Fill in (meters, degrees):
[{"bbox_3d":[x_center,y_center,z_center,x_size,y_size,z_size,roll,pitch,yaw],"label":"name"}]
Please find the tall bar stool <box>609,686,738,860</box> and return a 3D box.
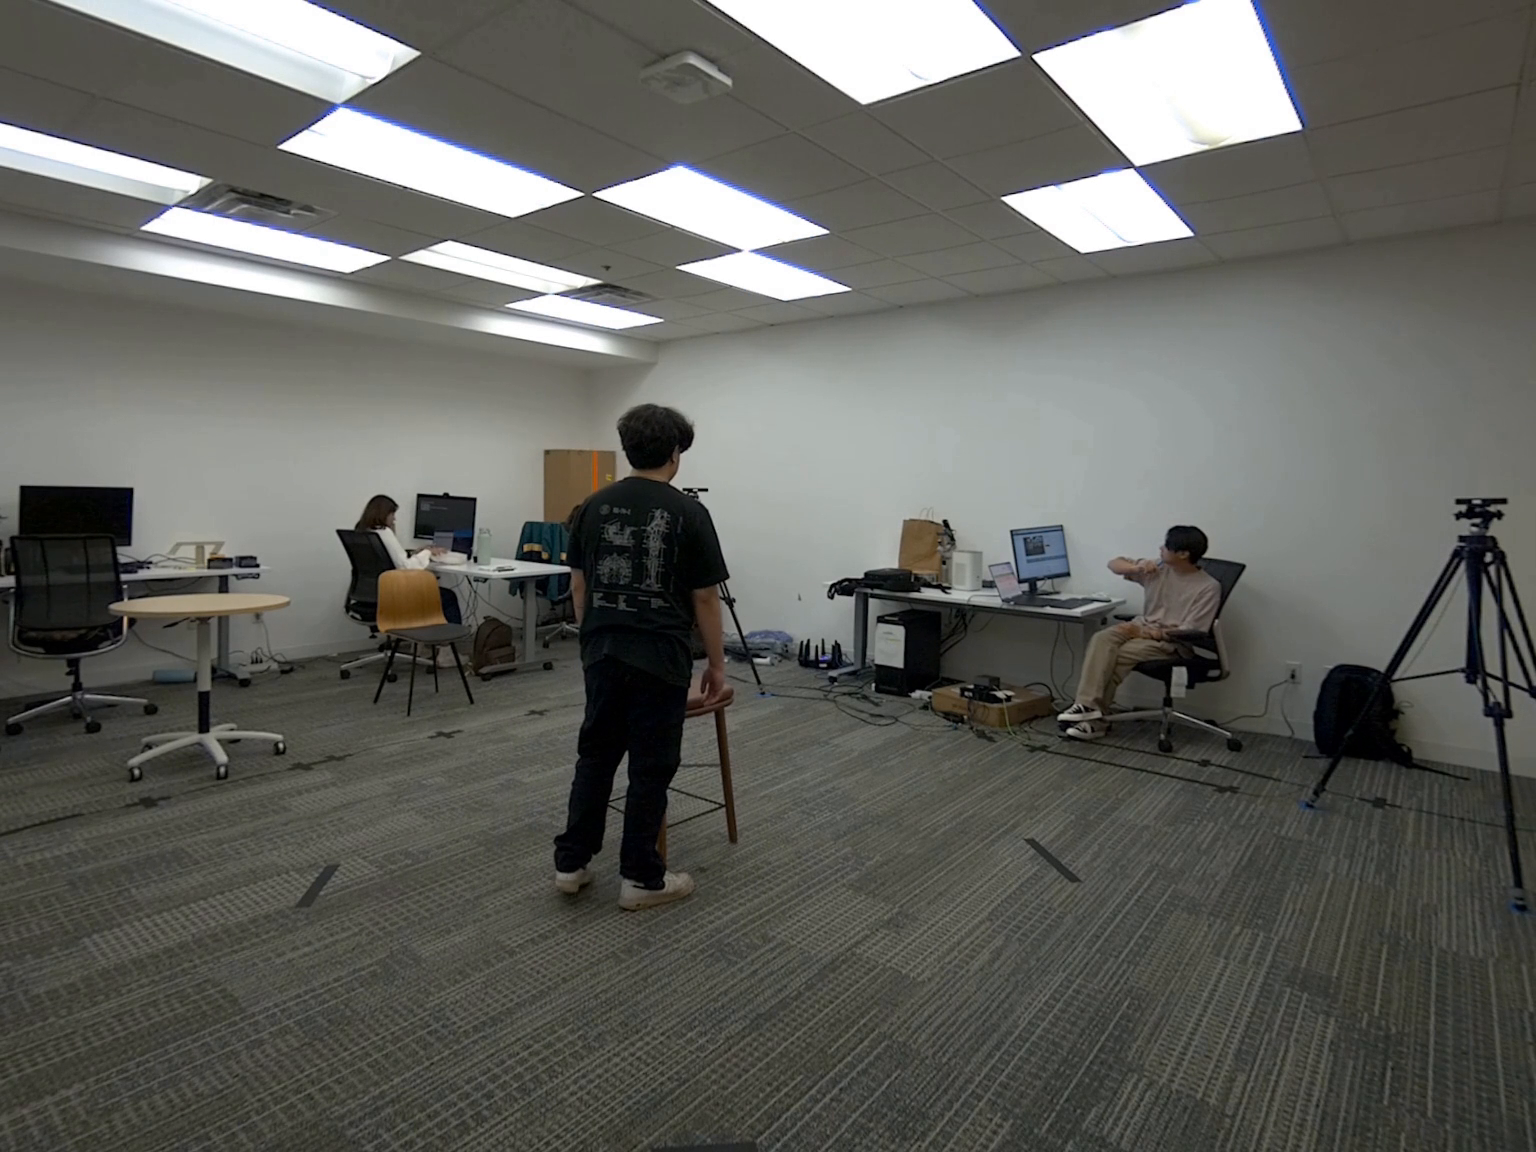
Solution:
[{"bbox_3d":[-0.423,0.602,3.349,0.483,0.889,0.442,1,2,43],"label":"tall bar stool"}]
